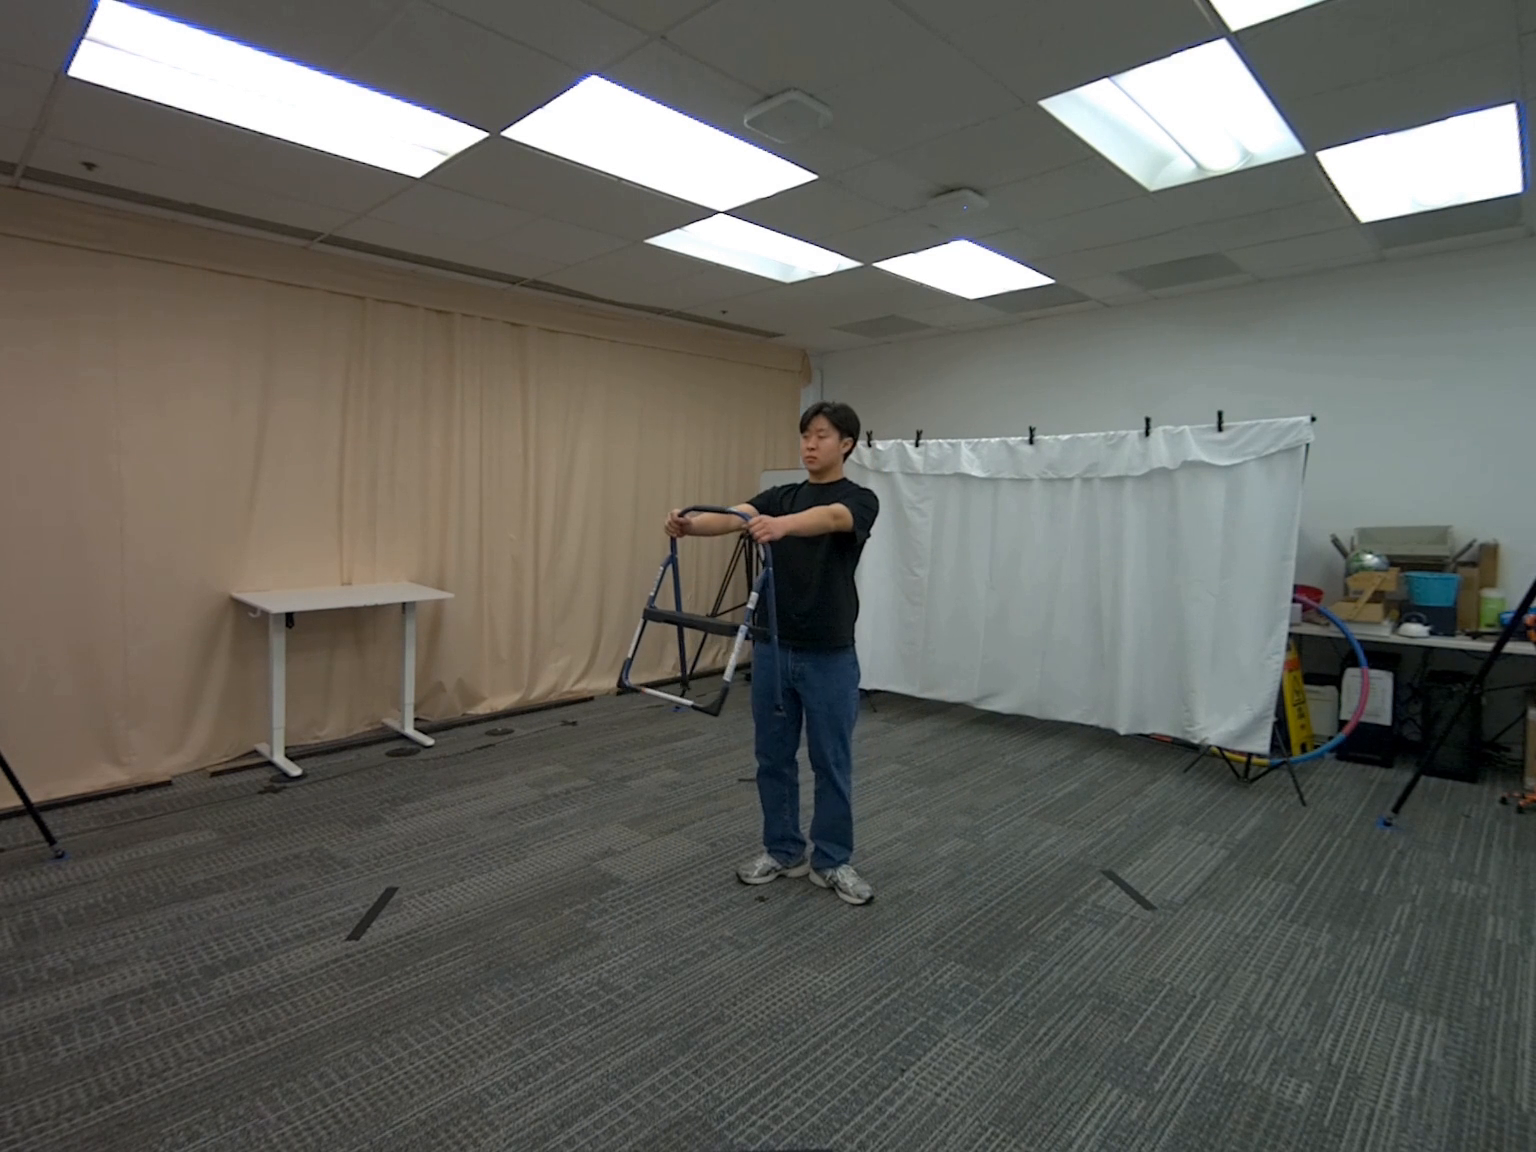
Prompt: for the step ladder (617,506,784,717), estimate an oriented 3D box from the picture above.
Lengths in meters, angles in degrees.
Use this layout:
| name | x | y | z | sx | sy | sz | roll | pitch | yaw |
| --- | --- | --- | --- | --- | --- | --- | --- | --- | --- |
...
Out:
| name | x | y | z | sx | sy | sz | roll | pitch | yaw |
| --- | --- | --- | --- | --- | --- | --- | --- | --- | --- |
| step ladder | -0.164 | 0.102 | 2.643 | 0.445 | 0.607 | 0.337 | 7 | -3 | 37 |
